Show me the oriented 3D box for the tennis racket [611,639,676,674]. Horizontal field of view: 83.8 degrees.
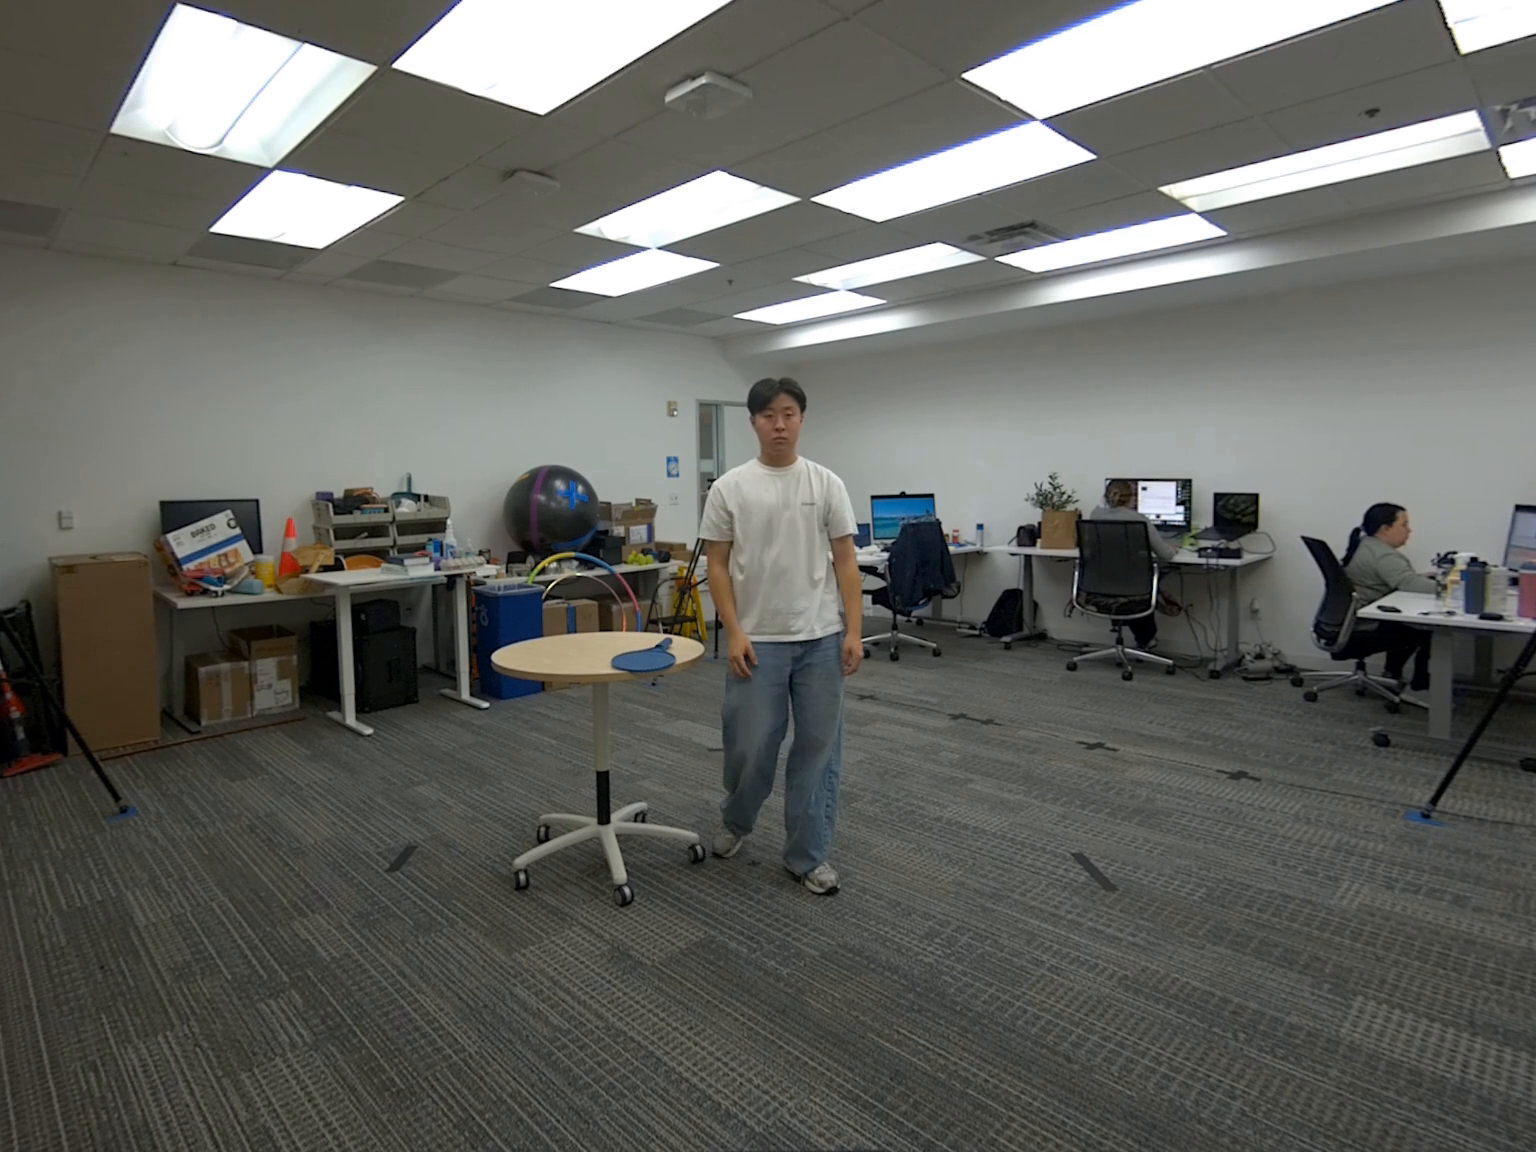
[{"bbox_3d":[-0.408,0.274,2.971,0.215,0.031,0.432,2,8,7],"label":"tennis racket"}]
